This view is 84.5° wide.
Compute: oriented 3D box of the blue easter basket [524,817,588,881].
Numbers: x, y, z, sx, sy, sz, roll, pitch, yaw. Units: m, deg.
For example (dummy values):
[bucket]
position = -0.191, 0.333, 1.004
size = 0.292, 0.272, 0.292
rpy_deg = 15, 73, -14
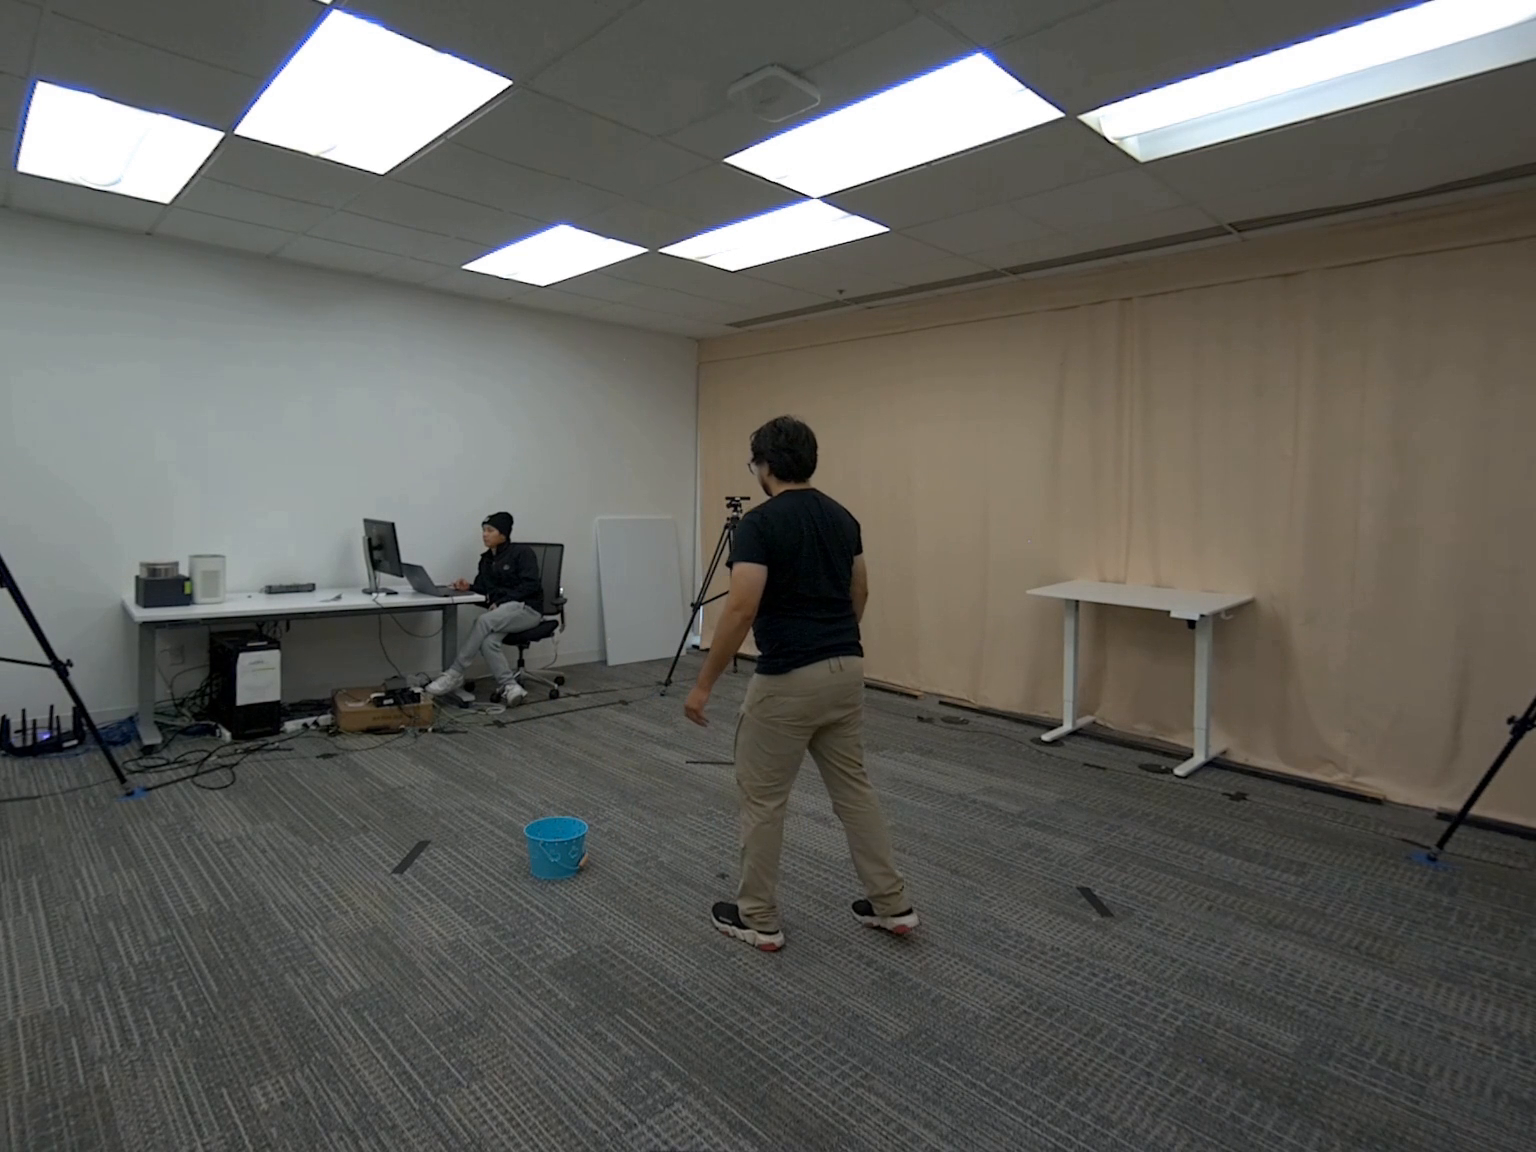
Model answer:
[blue easter basket]
position = -0.794, 1.011, 3.124
size = 0.243, 0.155, 0.244
rpy_deg = 1, 4, -1
